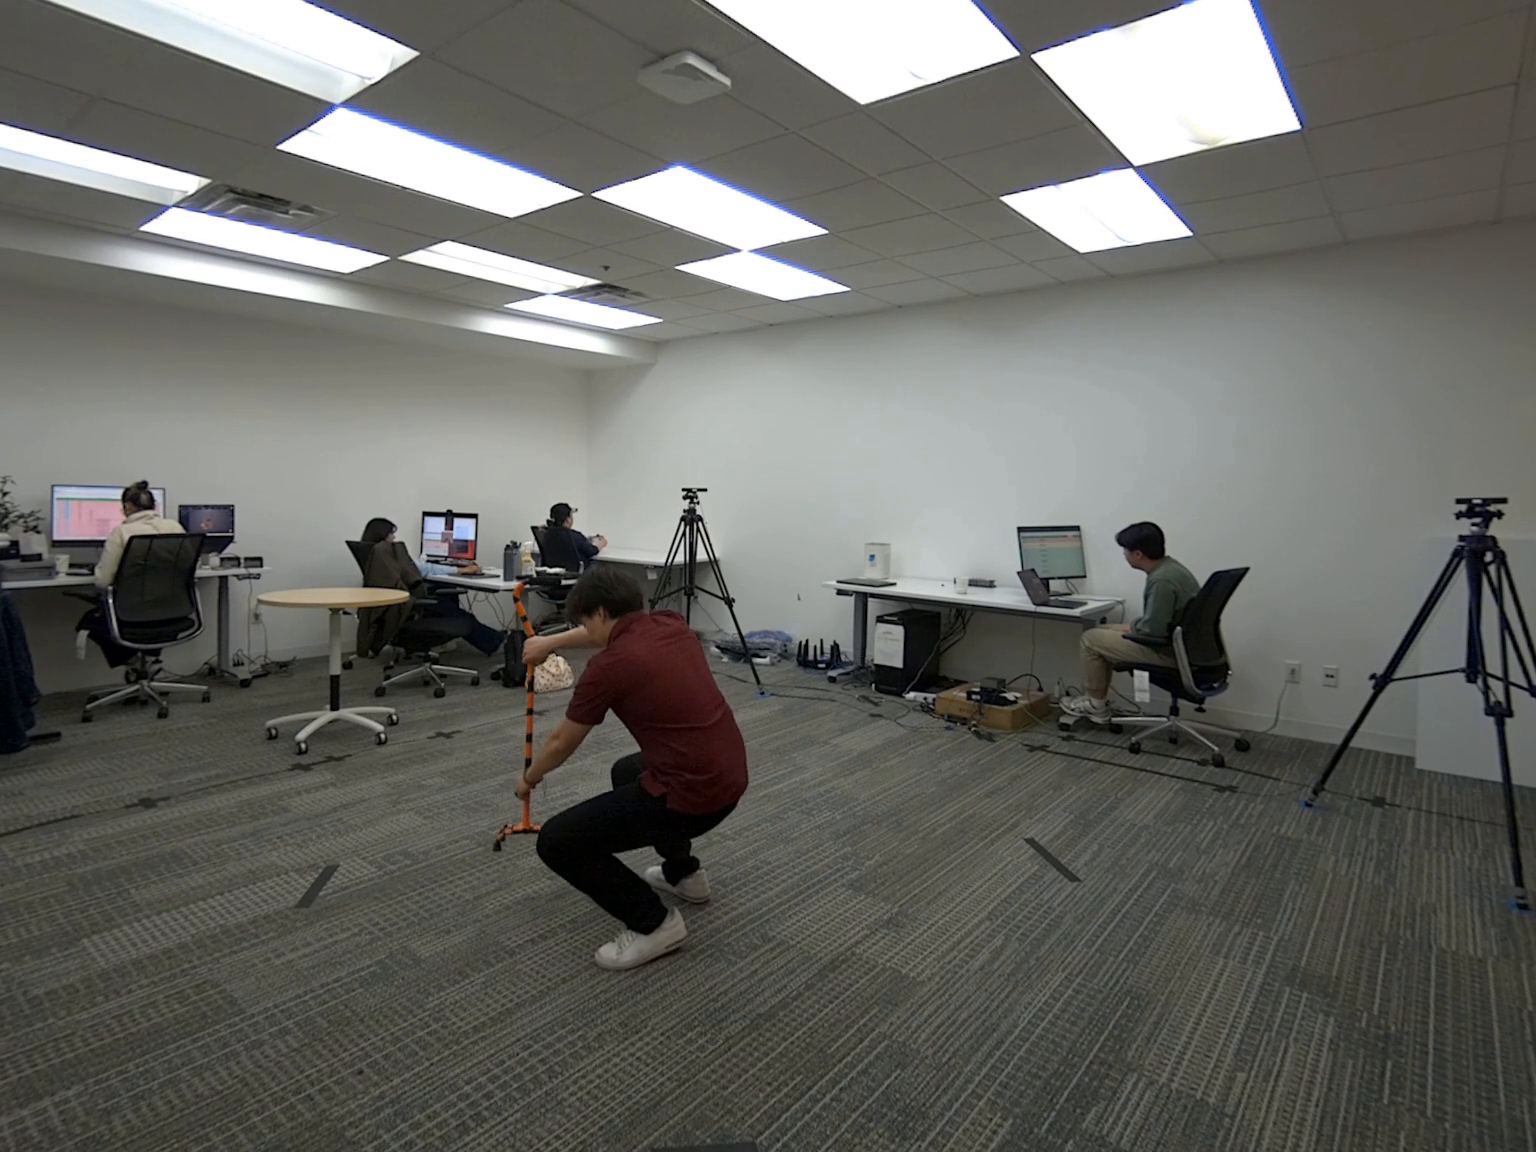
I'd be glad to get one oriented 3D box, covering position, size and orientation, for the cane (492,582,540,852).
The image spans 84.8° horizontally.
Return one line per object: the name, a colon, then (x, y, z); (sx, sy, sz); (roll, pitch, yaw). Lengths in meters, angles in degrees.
cane: (-0.840, 0.456, 2.923); (0.203, 0.911, 0.153); (0, -3, -14)
